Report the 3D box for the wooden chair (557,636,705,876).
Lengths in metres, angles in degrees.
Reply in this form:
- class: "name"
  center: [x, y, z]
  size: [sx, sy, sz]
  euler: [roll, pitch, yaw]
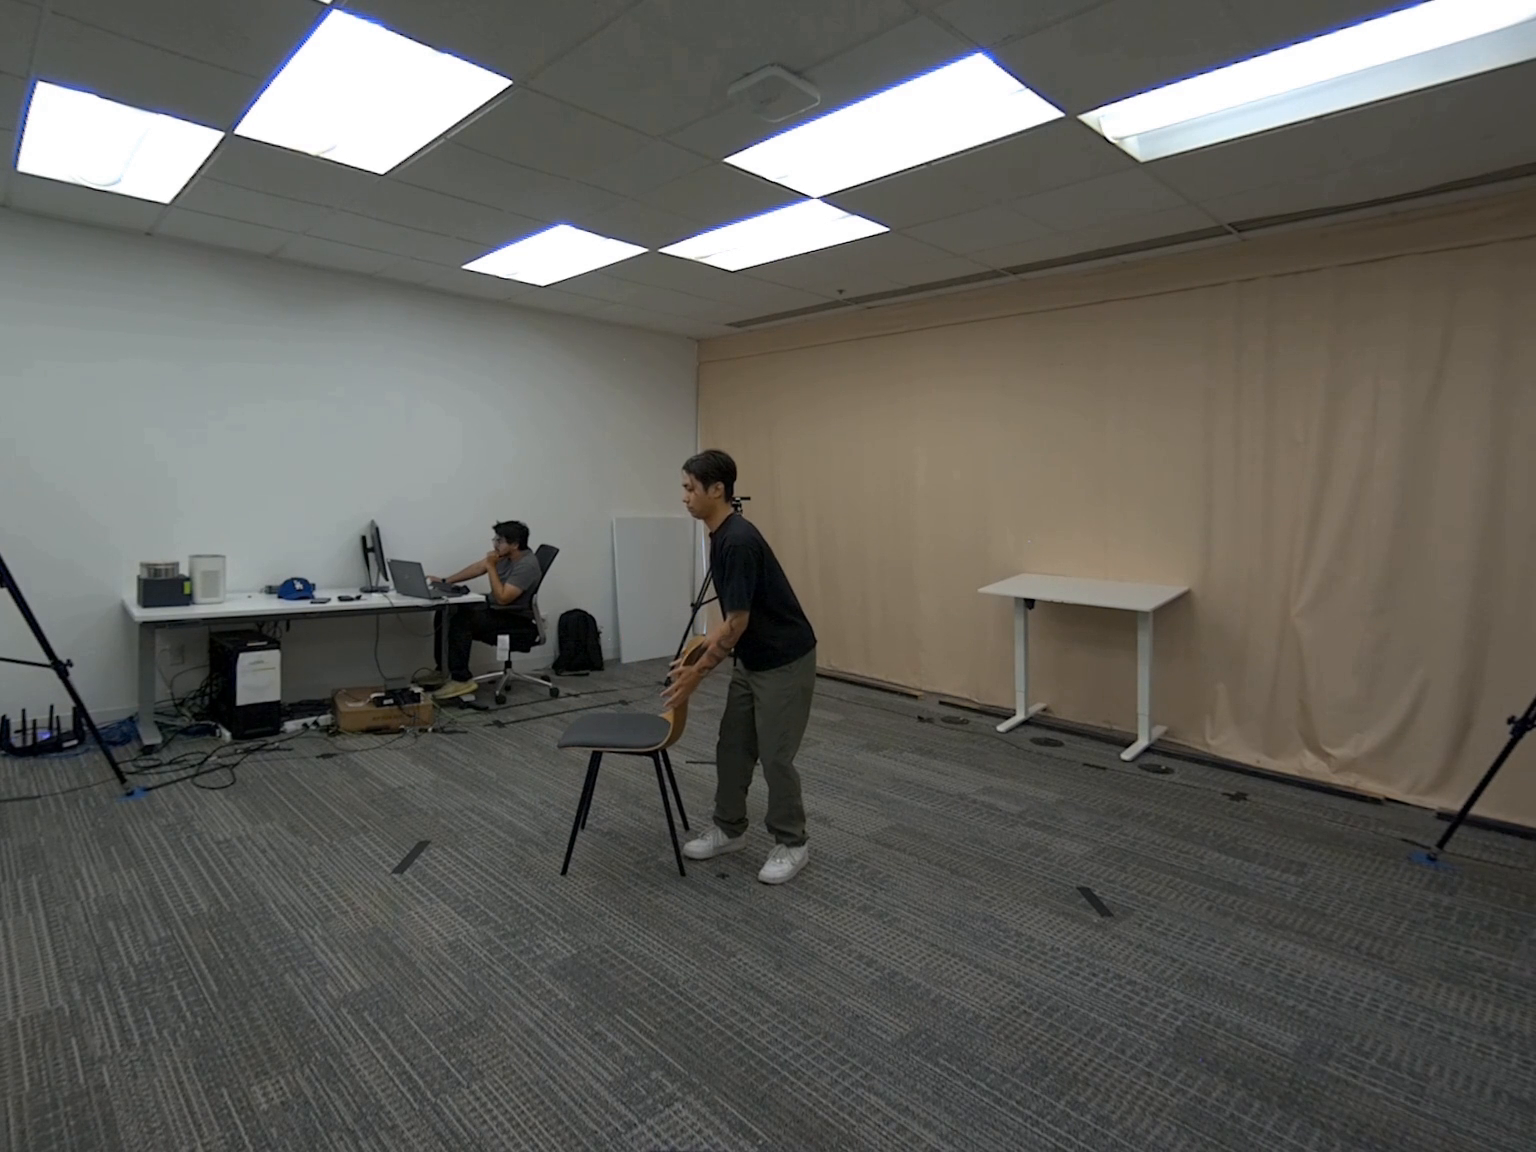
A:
- class: "wooden chair"
  center: [-0.544, 0.649, 3.255]
  size: [0.522, 0.874, 0.481]
  euler: [5, 5, -3]
